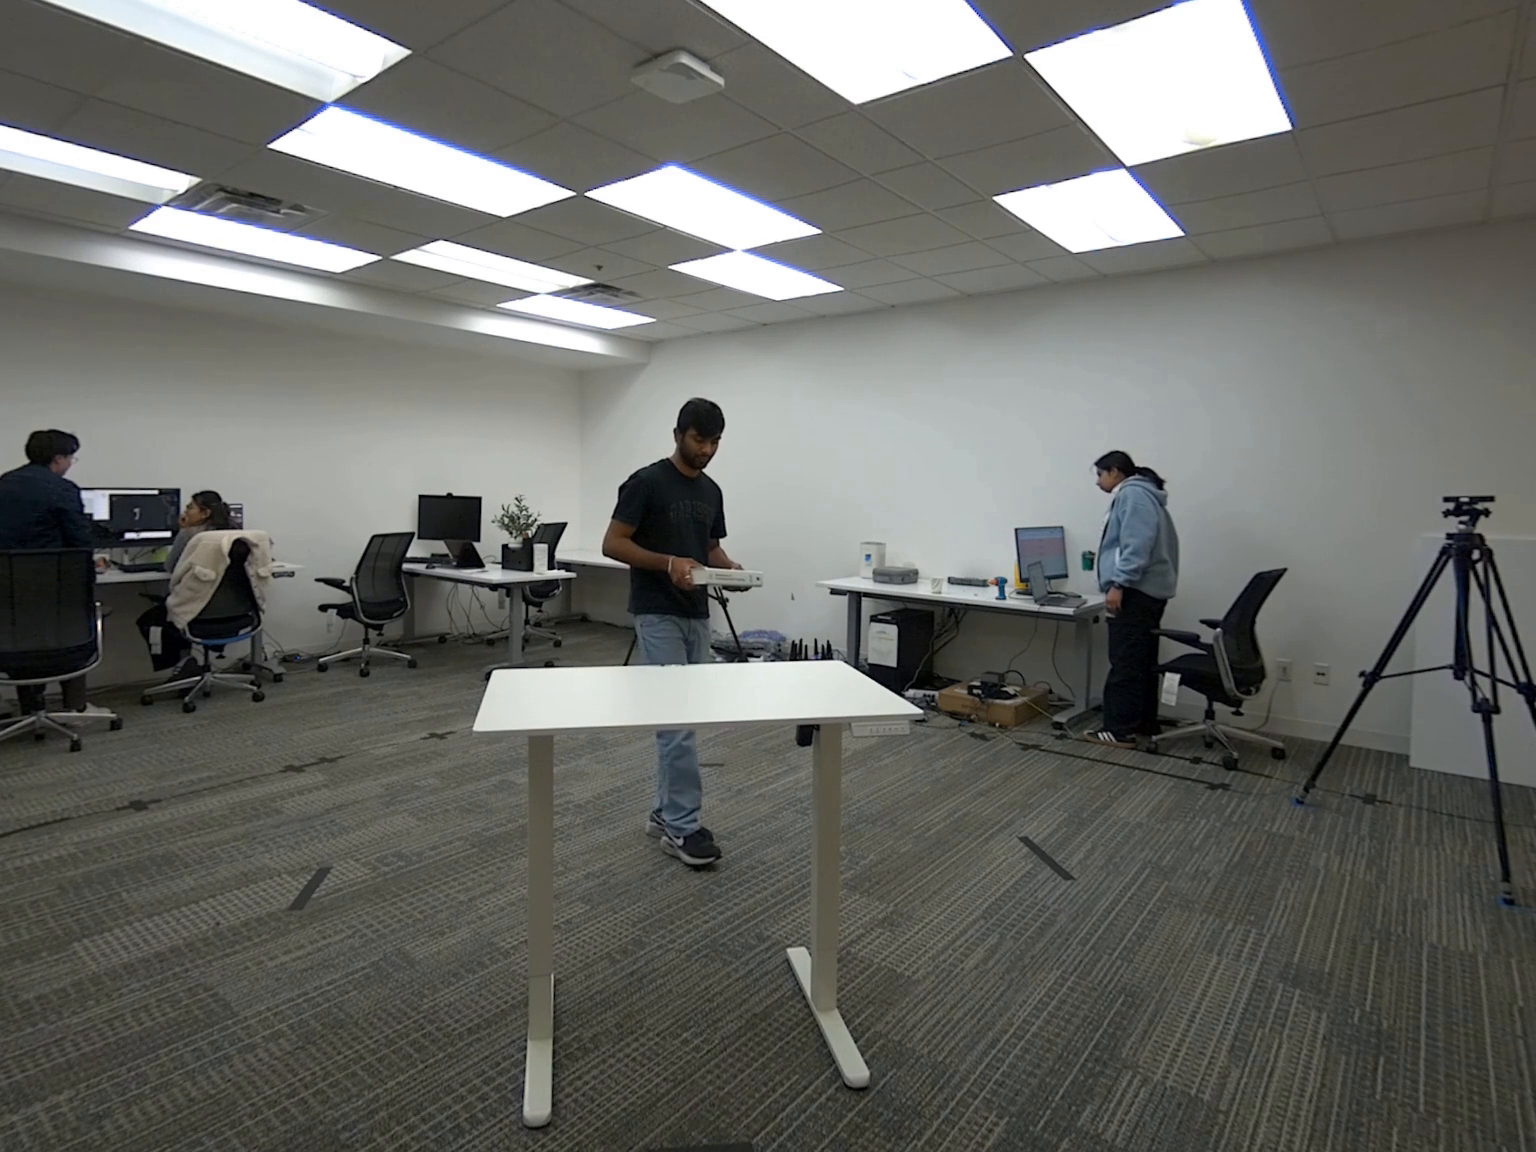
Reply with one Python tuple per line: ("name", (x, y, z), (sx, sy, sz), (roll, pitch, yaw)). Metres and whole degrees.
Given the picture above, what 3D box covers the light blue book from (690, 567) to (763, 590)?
("light blue book", (-0.183, 0.005, 3.150), (0.254, 0.059, 0.196), (2, -1, -27))
